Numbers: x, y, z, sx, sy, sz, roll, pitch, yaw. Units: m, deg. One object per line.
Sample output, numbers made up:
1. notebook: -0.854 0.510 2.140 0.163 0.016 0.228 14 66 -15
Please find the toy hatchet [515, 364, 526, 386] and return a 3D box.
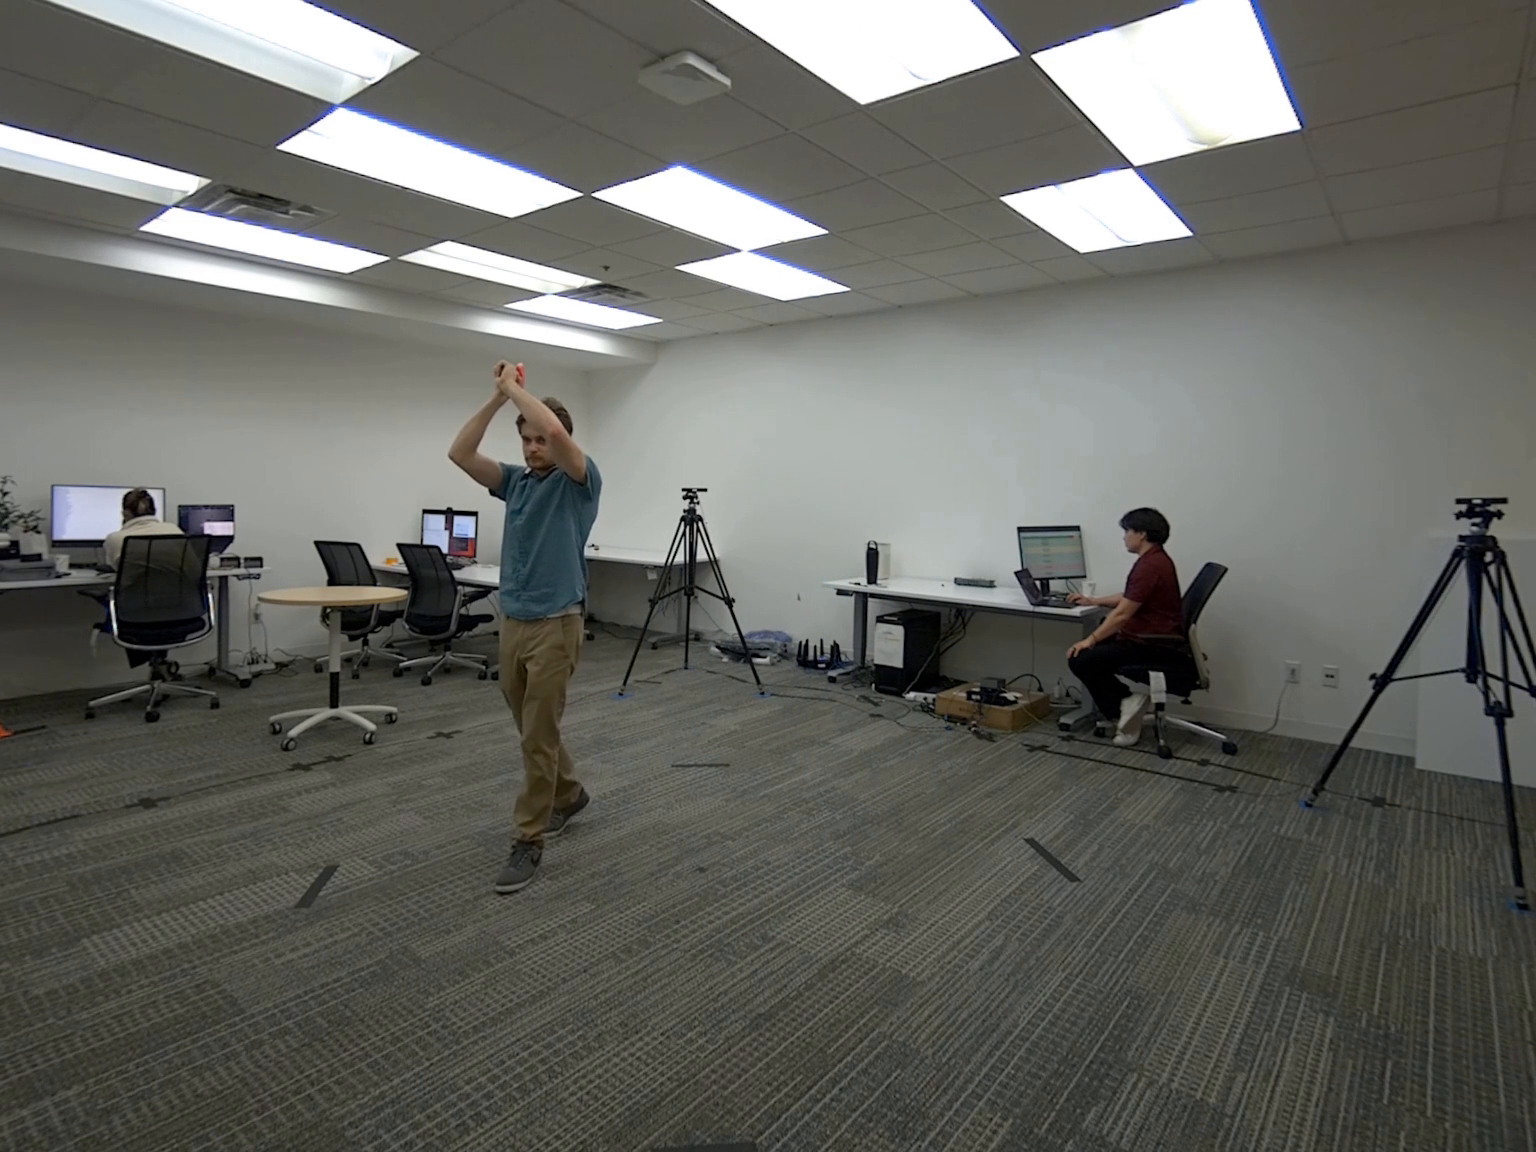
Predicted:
1. toy hatchet: -0.940 -0.751 3.127 0.029 0.132 0.269 8 -9 -7
